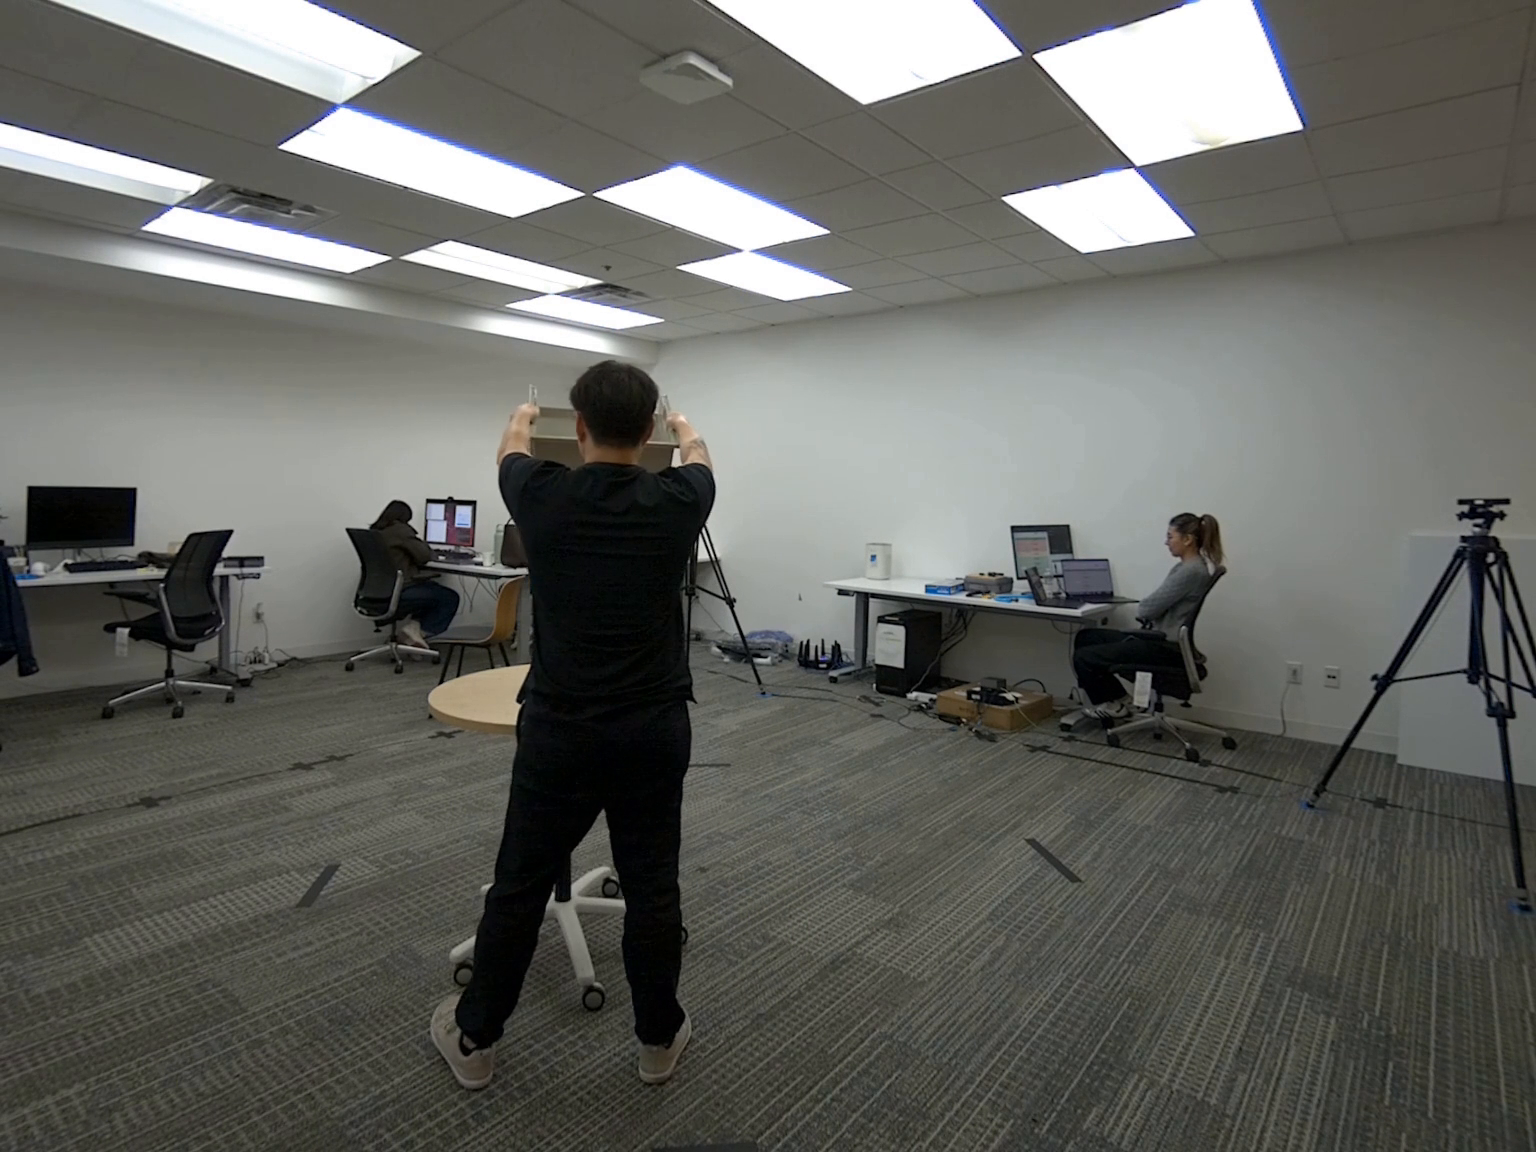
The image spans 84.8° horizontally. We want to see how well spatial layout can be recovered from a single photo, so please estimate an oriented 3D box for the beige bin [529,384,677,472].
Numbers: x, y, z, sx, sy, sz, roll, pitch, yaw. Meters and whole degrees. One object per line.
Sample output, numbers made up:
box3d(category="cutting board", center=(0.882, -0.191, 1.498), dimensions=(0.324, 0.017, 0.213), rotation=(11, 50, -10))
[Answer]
box3d(category="beige bin", center=(-0.510, -0.411, 2.536), dimensions=(0.416, 0.185, 0.391), rotation=(2, 36, -15))
